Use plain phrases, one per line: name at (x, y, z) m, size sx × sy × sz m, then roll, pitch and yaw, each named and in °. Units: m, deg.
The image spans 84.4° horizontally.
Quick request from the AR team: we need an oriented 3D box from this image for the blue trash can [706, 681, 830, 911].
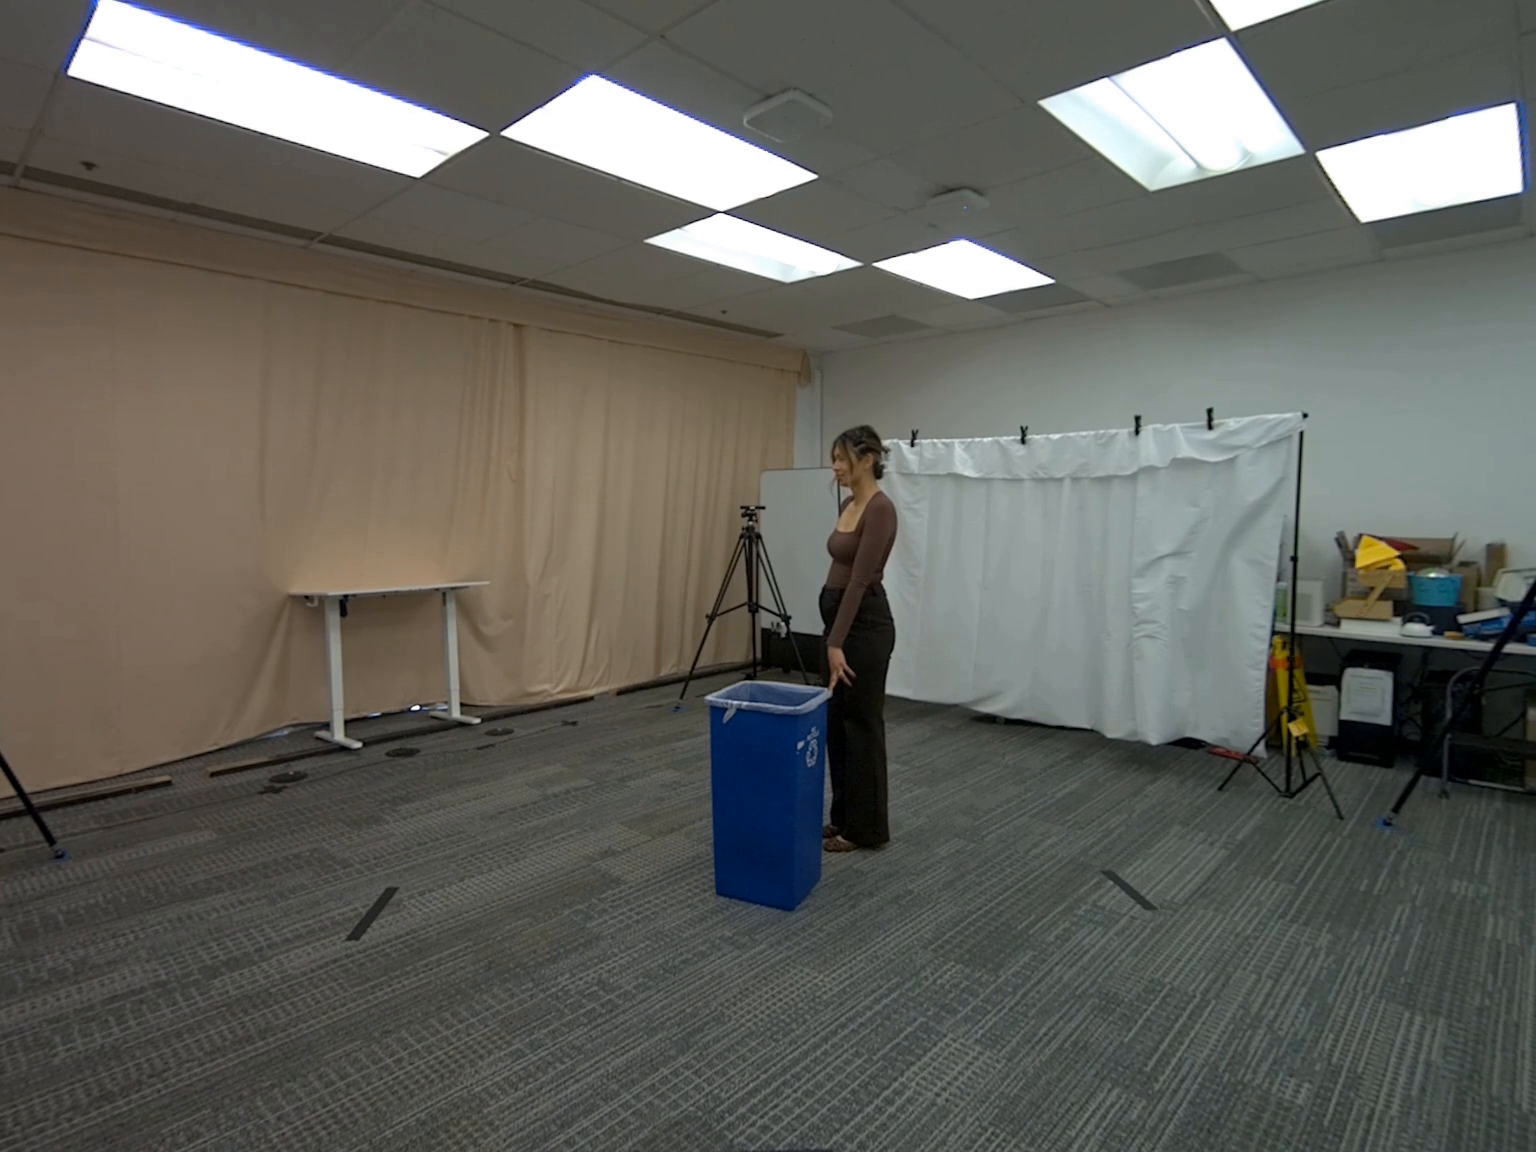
blue trash can at (0.007, 0.777, 3.070) m, size 0.388 × 0.712 × 0.365 m, roll 2°, pitch 4°, yaw 25°
